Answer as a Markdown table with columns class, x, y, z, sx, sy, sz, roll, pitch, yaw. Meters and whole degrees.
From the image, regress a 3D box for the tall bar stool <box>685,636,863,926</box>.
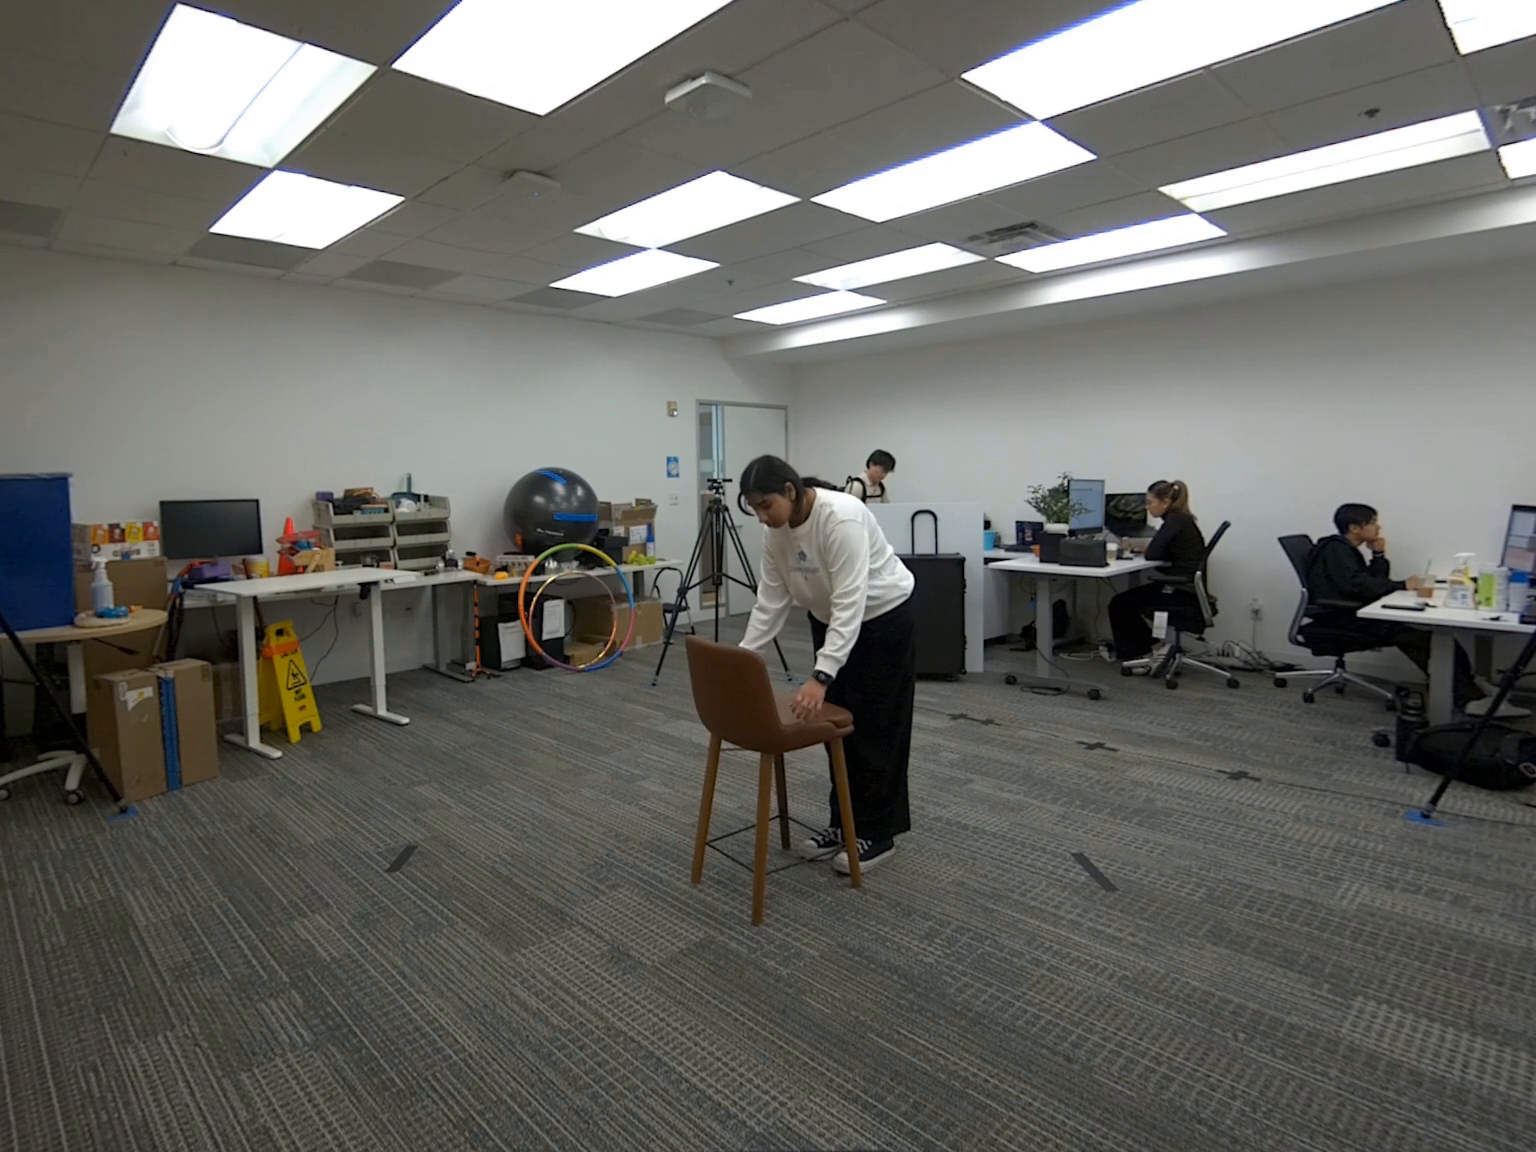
| class | x | y | z | sx | sy | sz | roll | pitch | yaw |
| --- | --- | --- | --- | --- | --- | --- | --- | --- | --- |
| tall bar stool | 0.015 | 0.625 | 2.923 | 0.456 | 0.886 | 0.470 | -6 | 6 | -37 |
